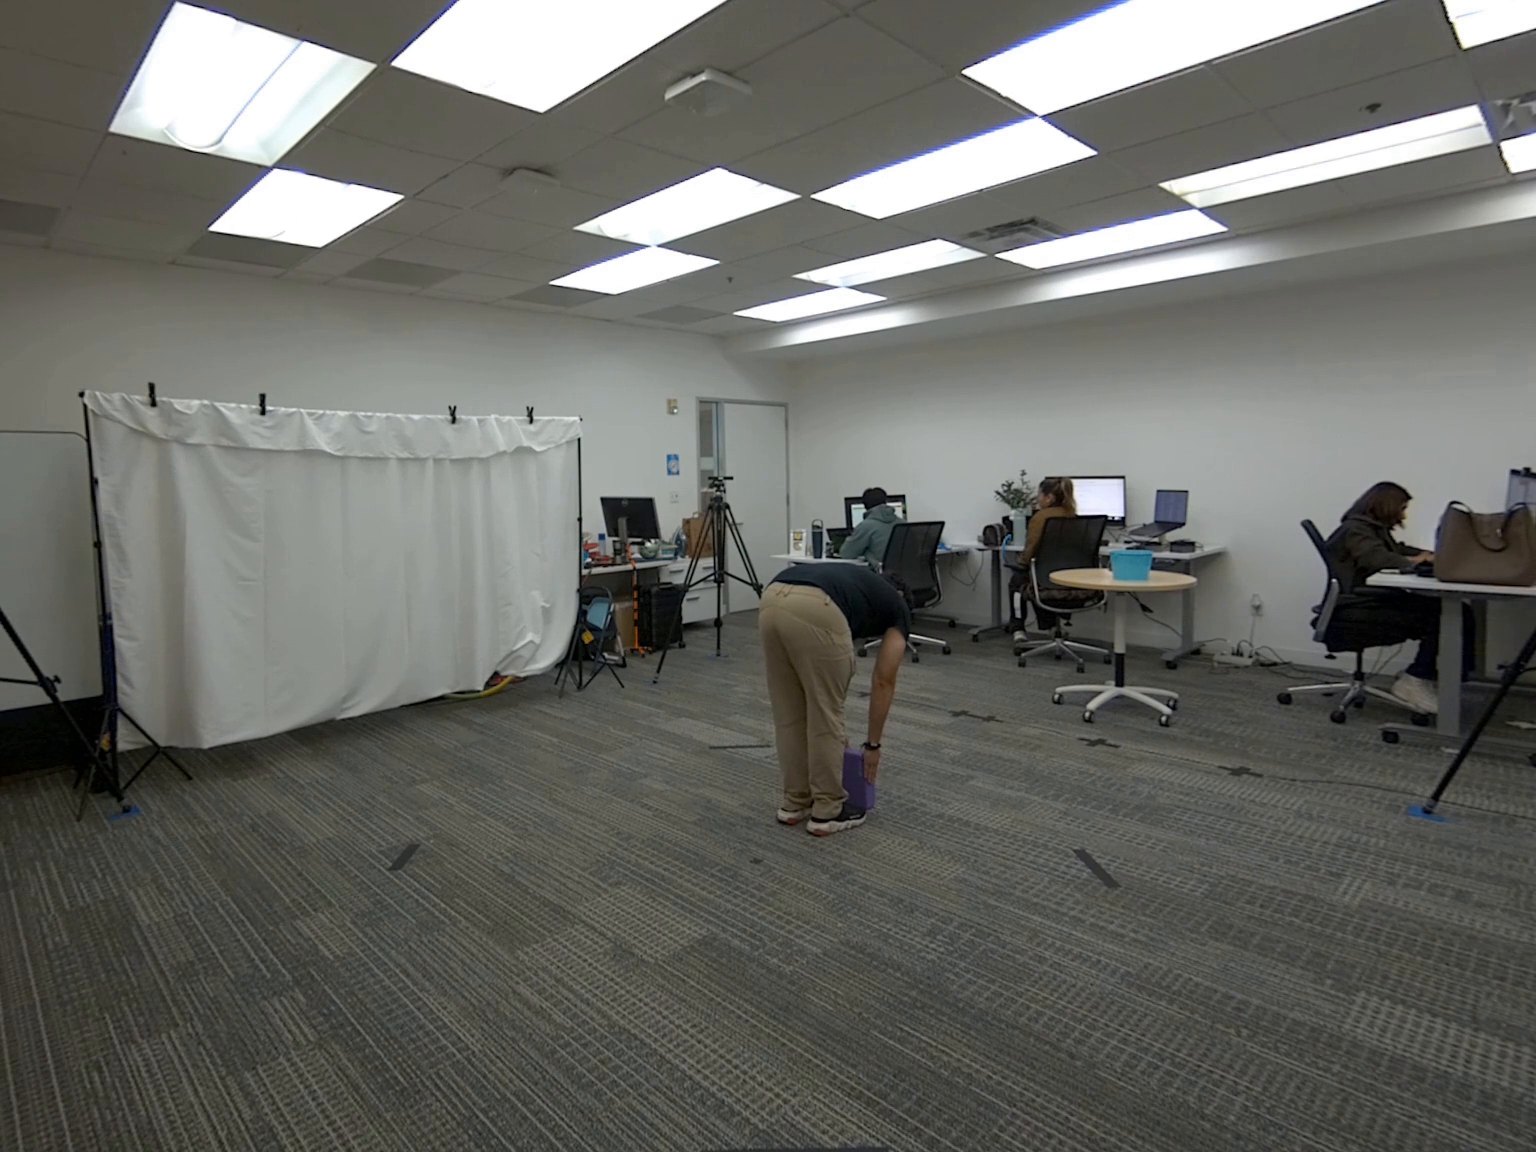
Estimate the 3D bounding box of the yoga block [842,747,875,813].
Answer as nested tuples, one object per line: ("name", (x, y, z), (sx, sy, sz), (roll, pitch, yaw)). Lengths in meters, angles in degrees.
("yoga block", (0.377, 0.858, 3.625), (0.074, 0.229, 0.153), (-2, 4, -43))
